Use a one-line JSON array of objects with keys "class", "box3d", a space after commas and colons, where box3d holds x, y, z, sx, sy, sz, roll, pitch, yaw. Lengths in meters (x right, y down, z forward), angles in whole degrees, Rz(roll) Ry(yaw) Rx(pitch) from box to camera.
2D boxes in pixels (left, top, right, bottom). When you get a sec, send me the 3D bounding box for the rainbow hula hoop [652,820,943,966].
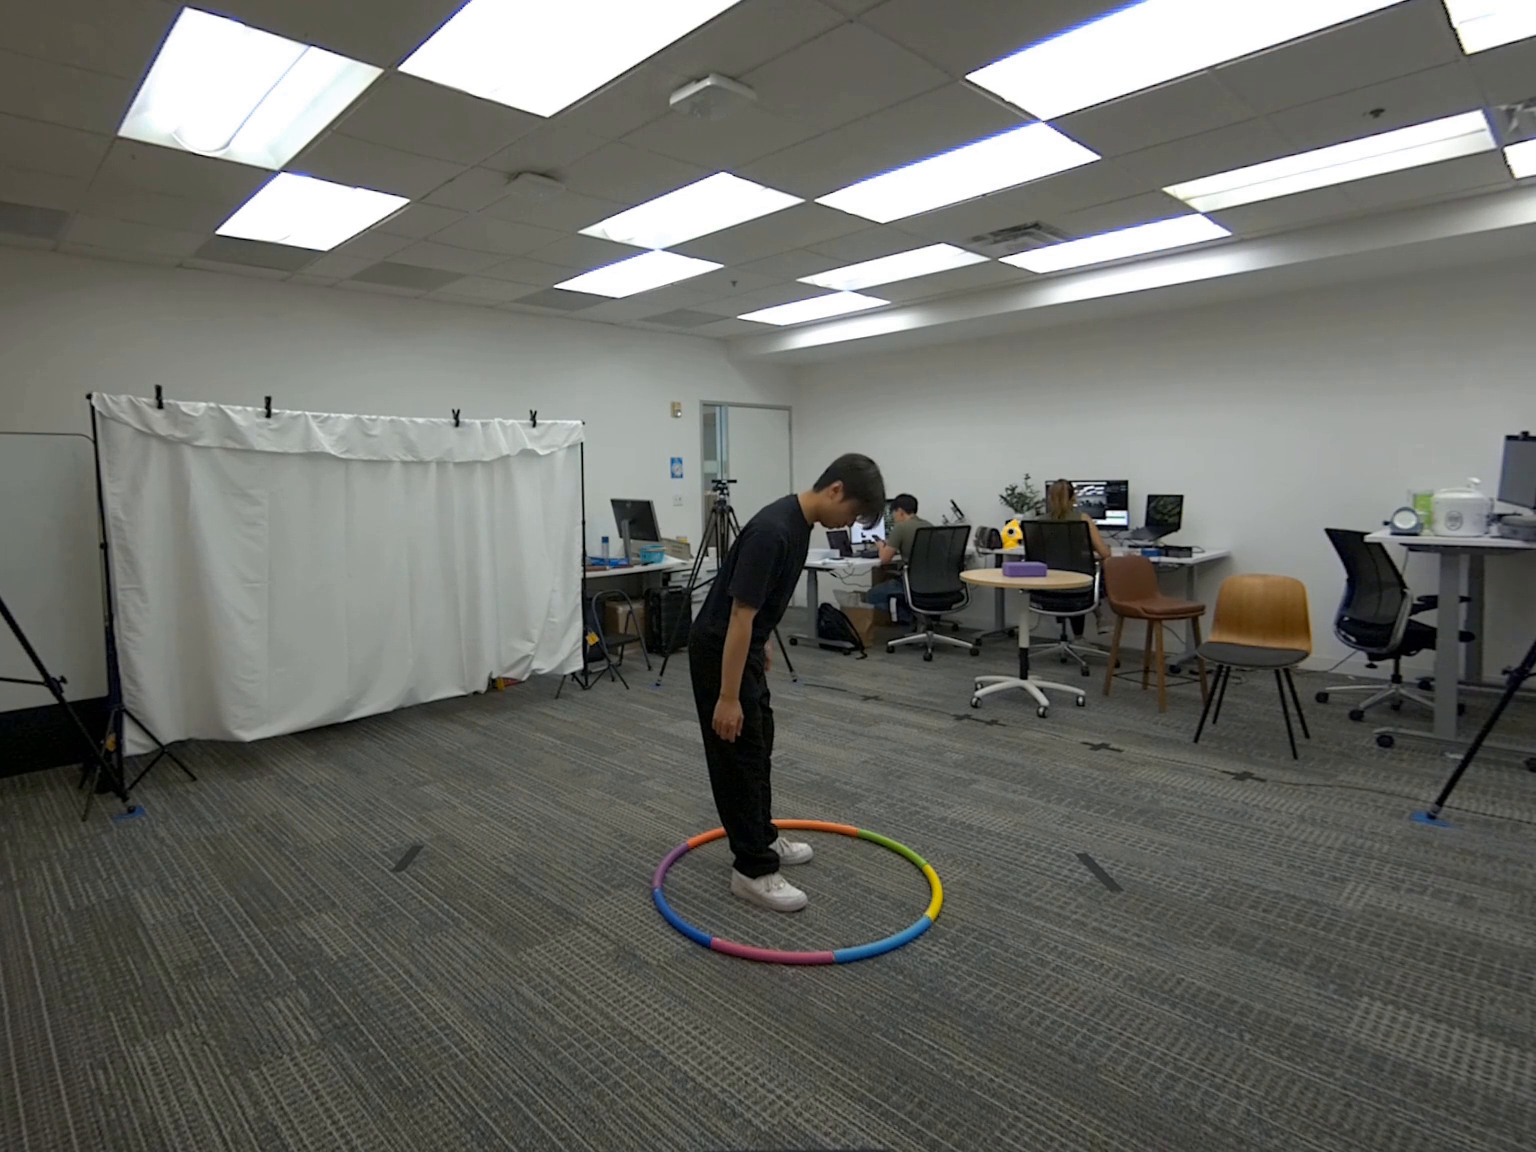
[{"class": "rainbow hula hoop", "box3d": [0.091, 1.036, 2.943, 0.978, 0.035, 0.984, -2, 7, -2]}]
